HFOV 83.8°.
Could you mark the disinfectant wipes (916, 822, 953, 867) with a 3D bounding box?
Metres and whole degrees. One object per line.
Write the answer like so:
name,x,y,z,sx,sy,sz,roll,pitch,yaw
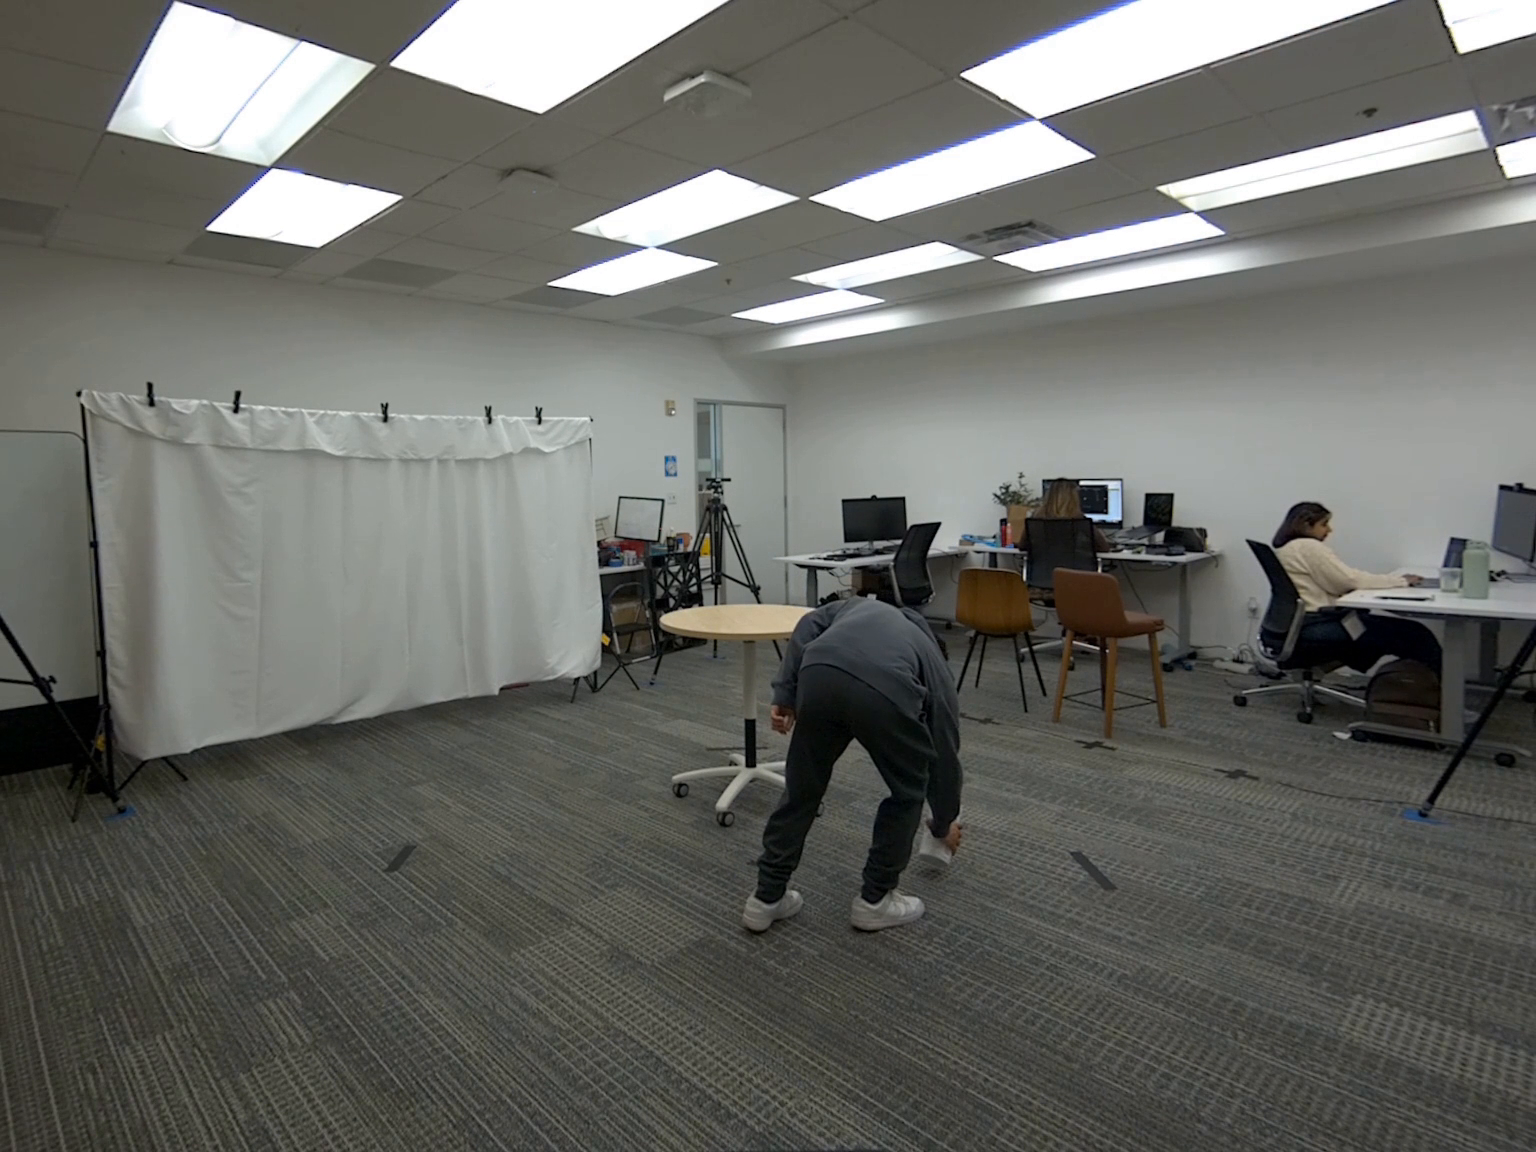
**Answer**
disinfectant wipes,0.626,0.912,3.042,0.119,0.220,0.115,18,-26,7
